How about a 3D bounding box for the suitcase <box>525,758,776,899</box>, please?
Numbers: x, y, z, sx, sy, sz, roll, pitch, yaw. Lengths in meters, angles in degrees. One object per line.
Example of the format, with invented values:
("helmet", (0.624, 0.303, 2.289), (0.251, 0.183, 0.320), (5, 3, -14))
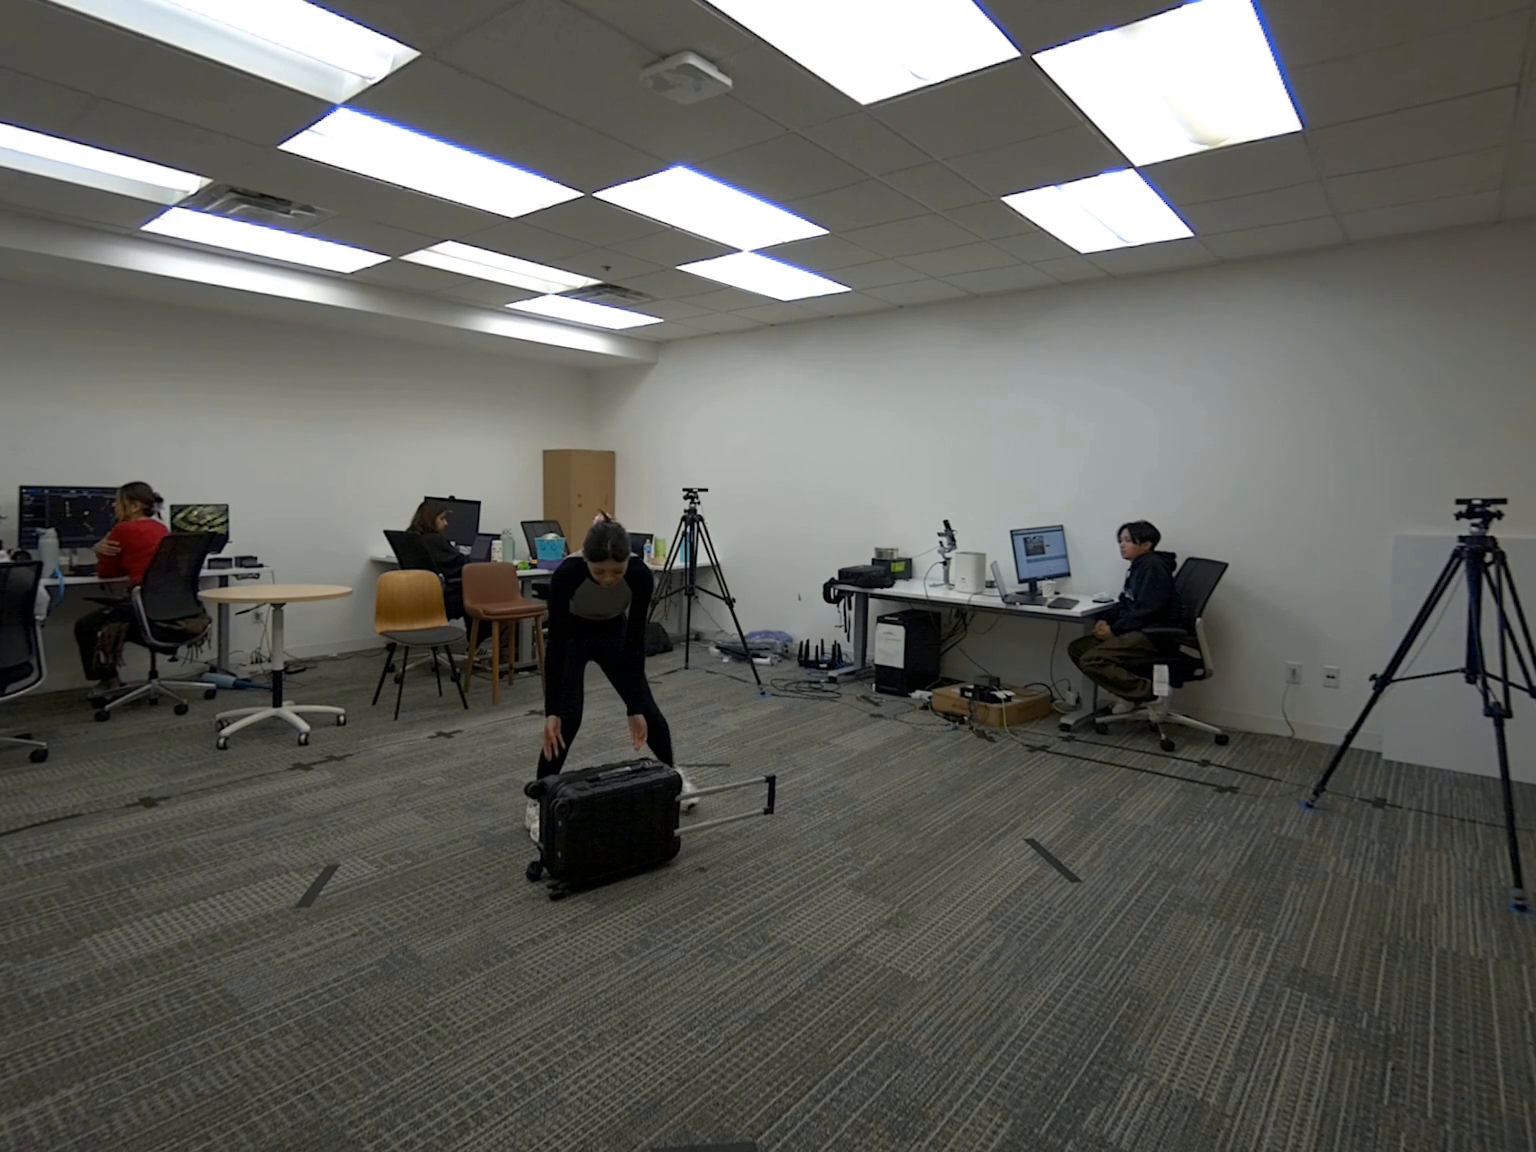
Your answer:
("suitcase", (-0.429, 0.872, 3.202), (0.950, 0.382, 0.266), (-3, 7, -39))
